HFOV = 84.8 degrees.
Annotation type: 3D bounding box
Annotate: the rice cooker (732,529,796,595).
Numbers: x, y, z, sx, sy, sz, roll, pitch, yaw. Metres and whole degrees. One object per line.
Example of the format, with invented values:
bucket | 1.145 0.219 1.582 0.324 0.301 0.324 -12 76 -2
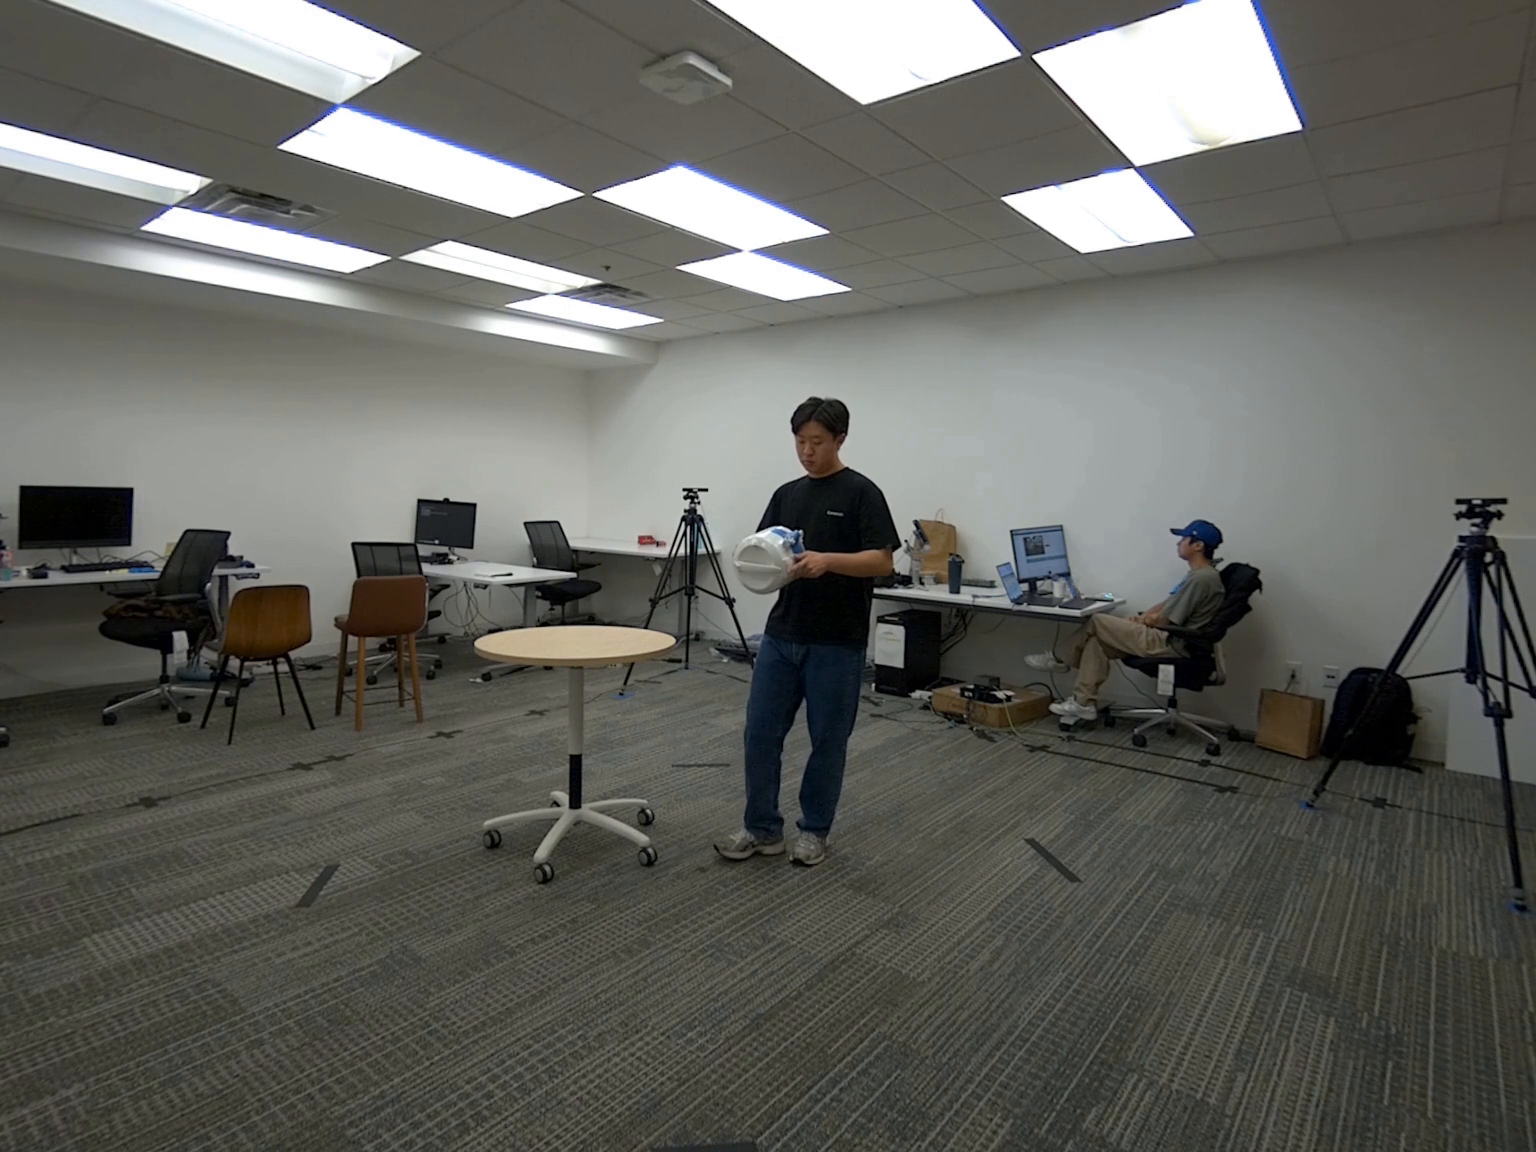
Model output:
rice cooker | -0.012 -0.056 2.988 0.228 0.215 0.228 8 16 31
